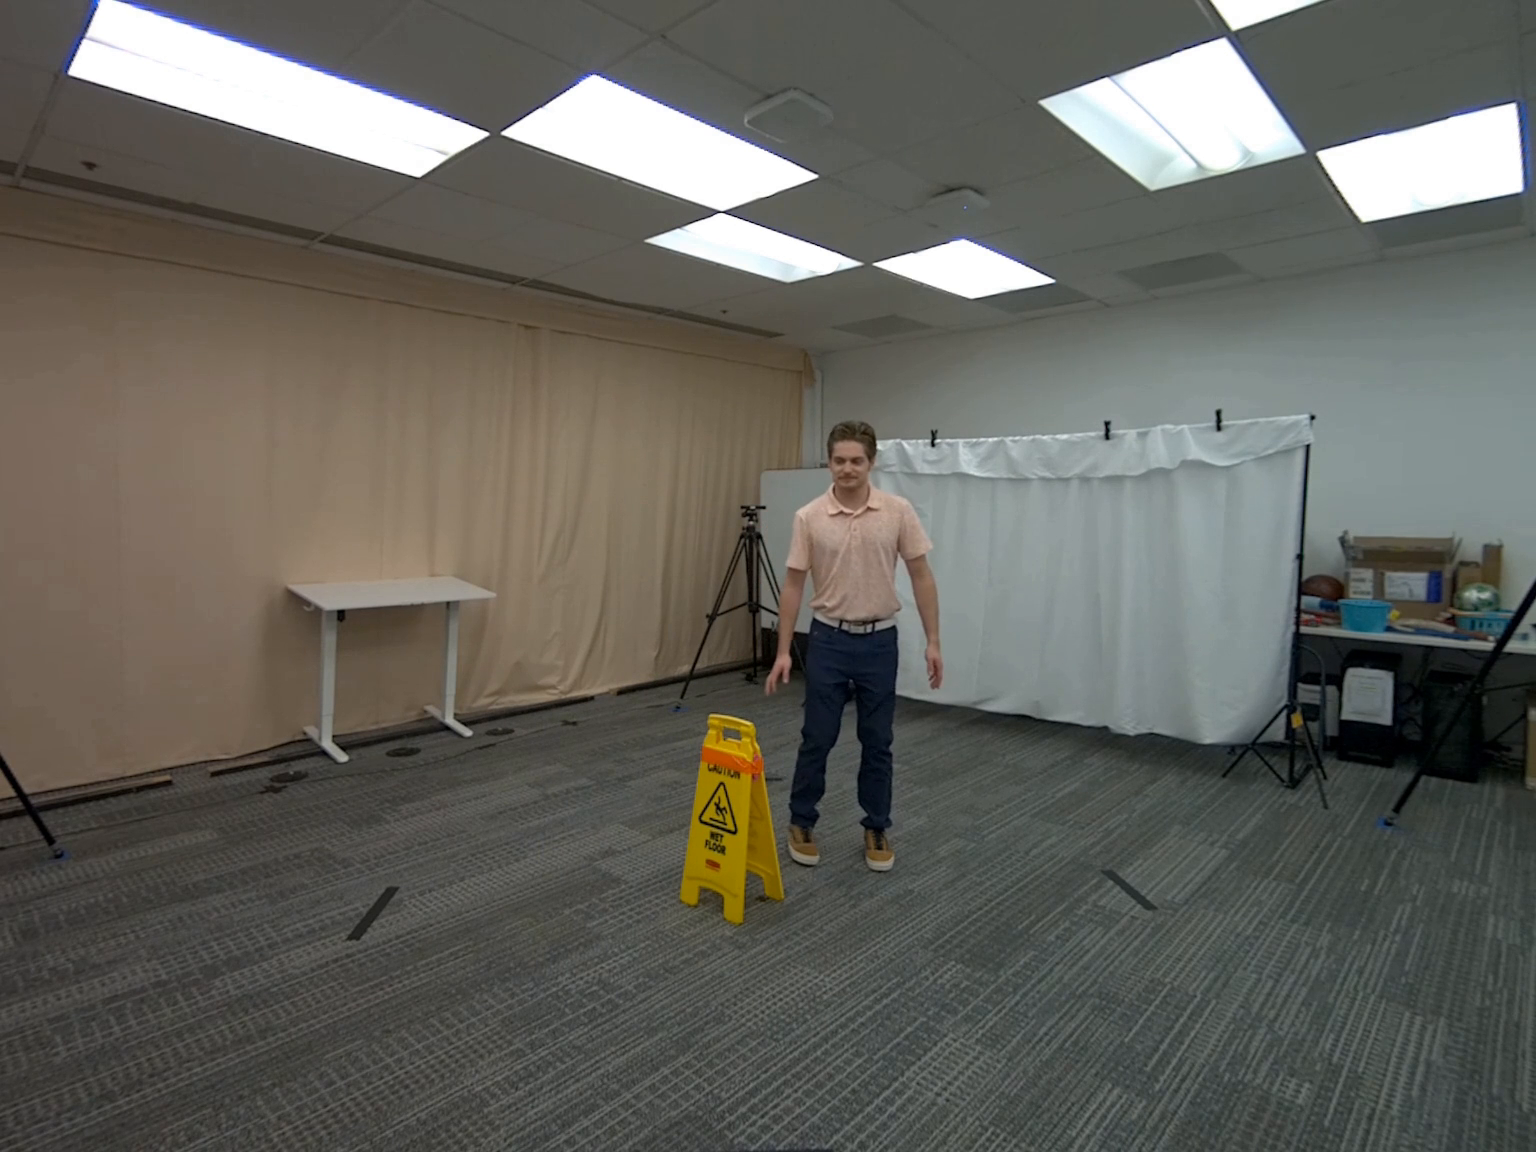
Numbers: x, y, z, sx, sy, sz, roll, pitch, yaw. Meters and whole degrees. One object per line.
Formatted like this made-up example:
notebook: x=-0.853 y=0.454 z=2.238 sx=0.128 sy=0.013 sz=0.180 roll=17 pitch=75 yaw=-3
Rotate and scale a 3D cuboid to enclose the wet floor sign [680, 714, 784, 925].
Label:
wet floor sign: x=-0.125 y=0.819 z=2.958 sx=0.291 sy=0.645 sz=0.281 roll=3 pitch=4 yaw=40
